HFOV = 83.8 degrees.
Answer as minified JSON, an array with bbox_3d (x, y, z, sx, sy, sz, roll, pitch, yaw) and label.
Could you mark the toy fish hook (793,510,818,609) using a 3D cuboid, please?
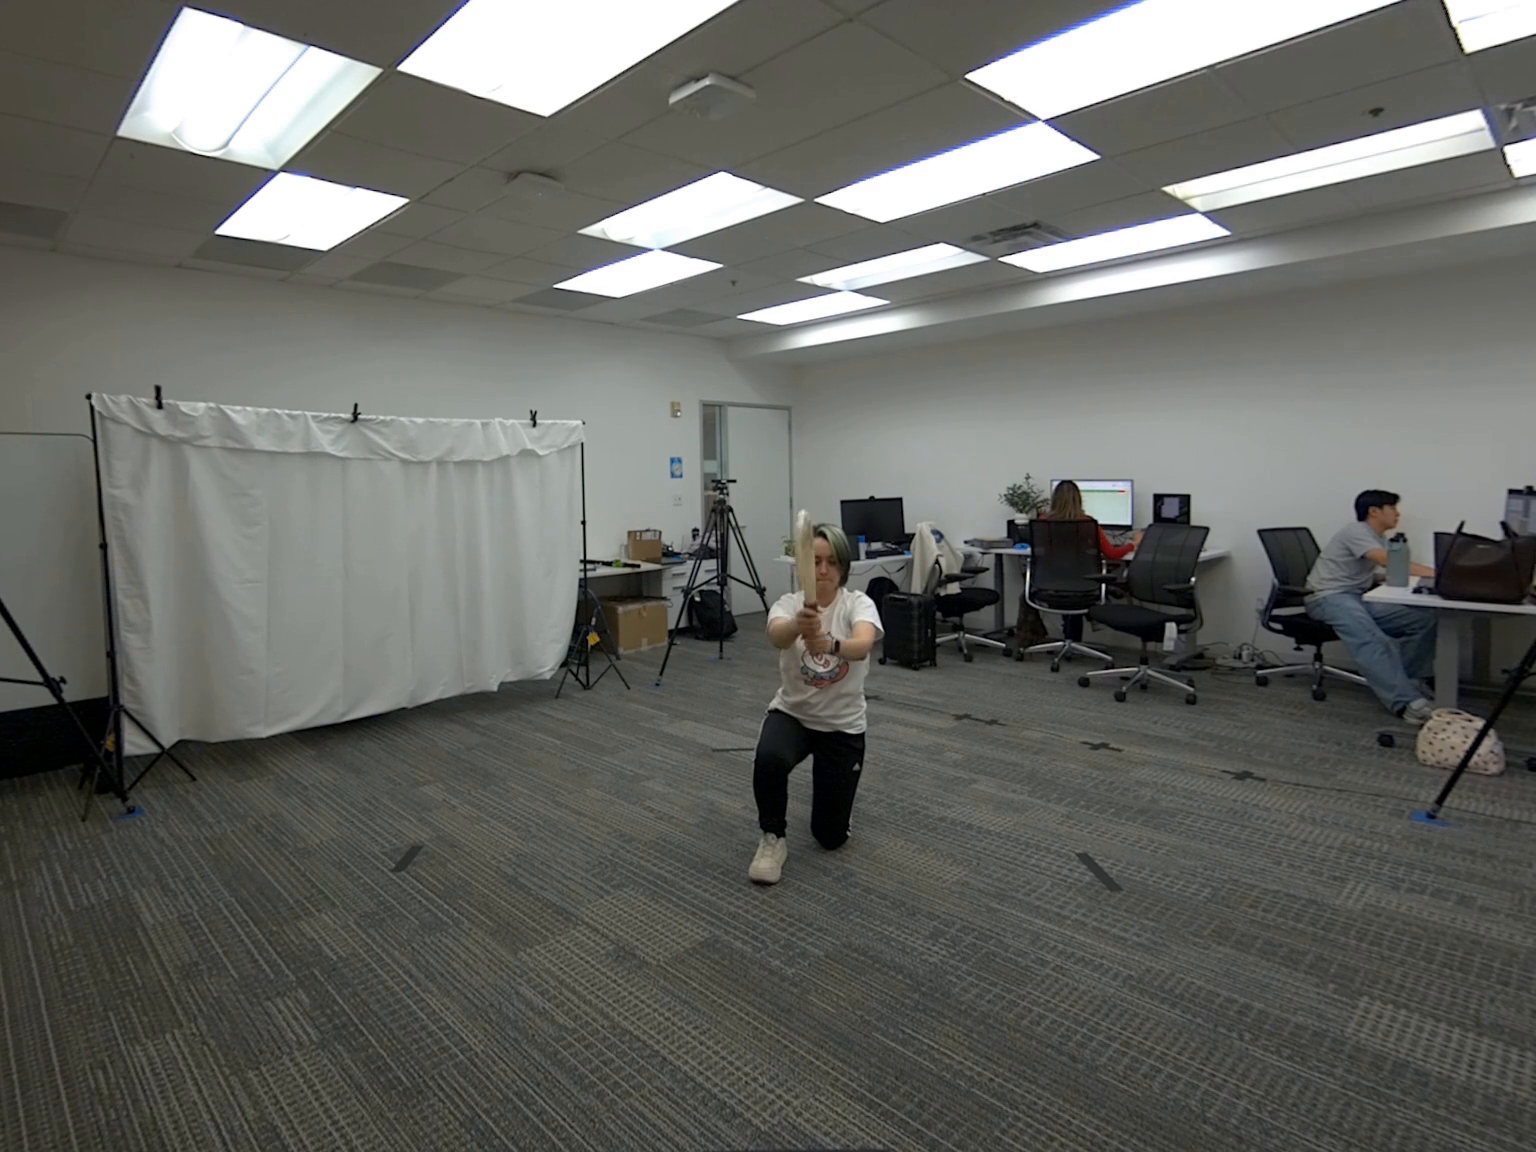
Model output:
[{"bbox_3d":[0.125,0.060,2.564,0.049,0.495,0.226,-1,25,14],"label":"toy fish hook"}]
